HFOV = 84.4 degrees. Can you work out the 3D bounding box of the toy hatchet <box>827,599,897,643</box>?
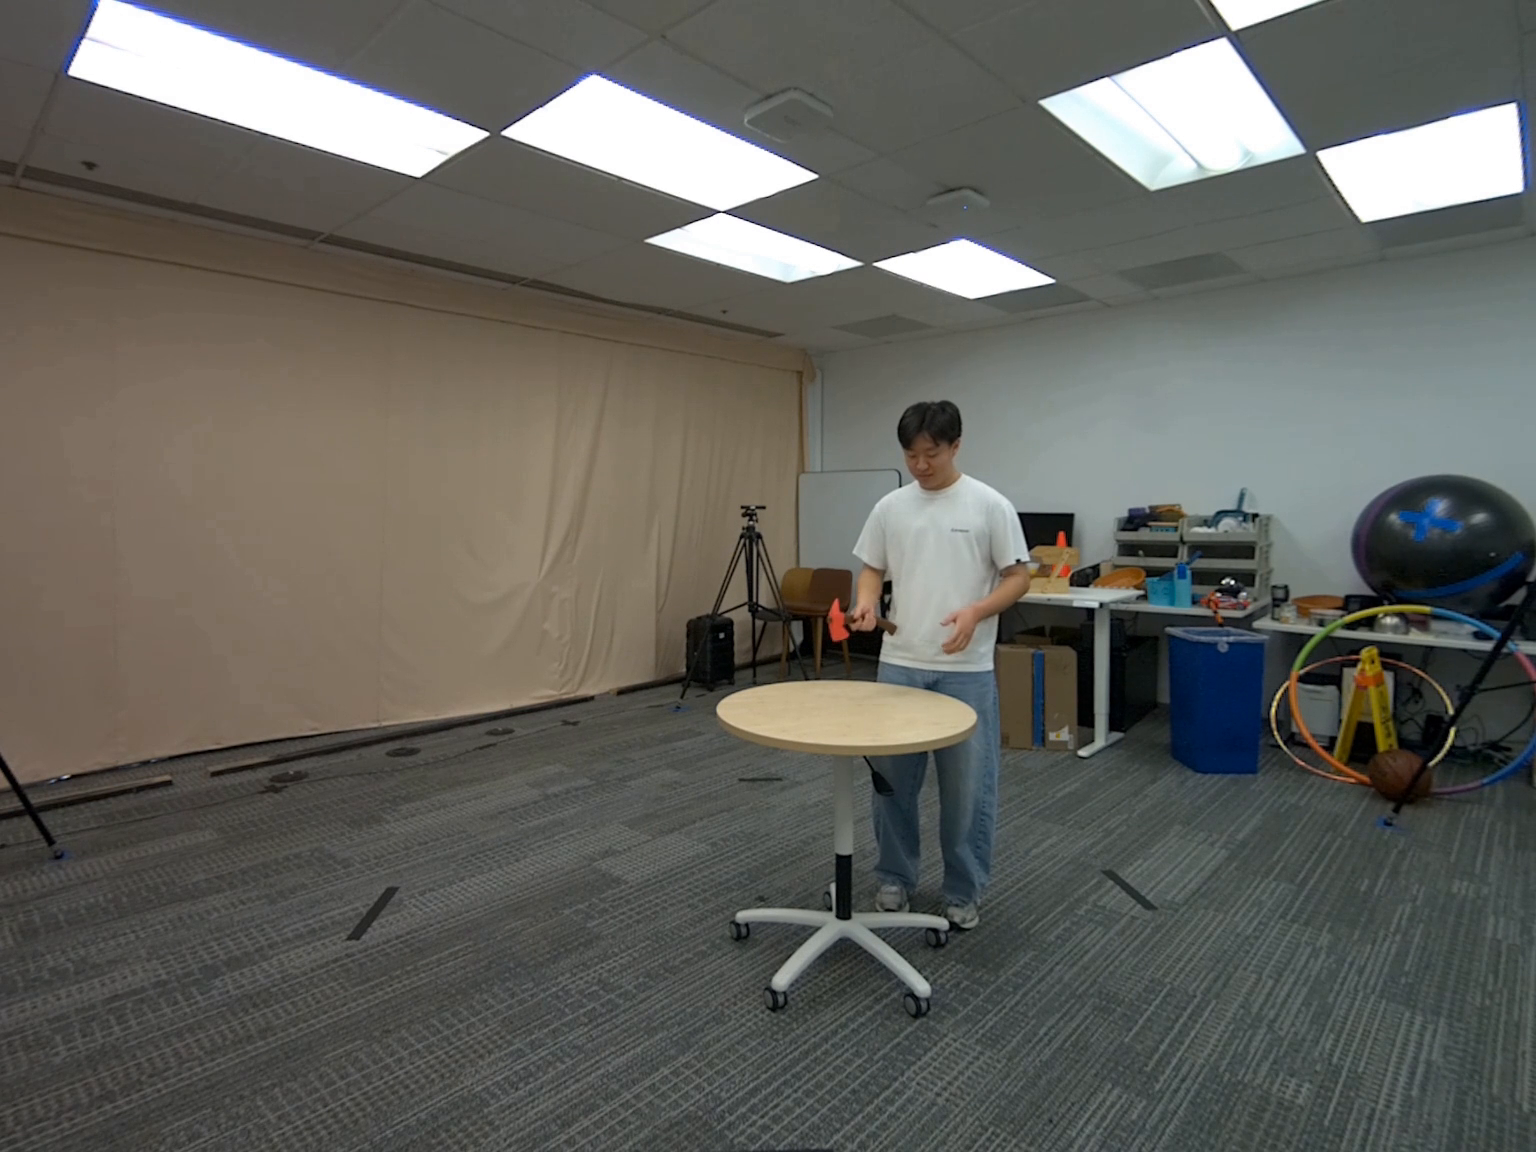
[{"bbox_3d":[0.333,0.161,2.736,0.265,0.131,0.030,25,-7,-15],"label":"toy hatchet"}]
